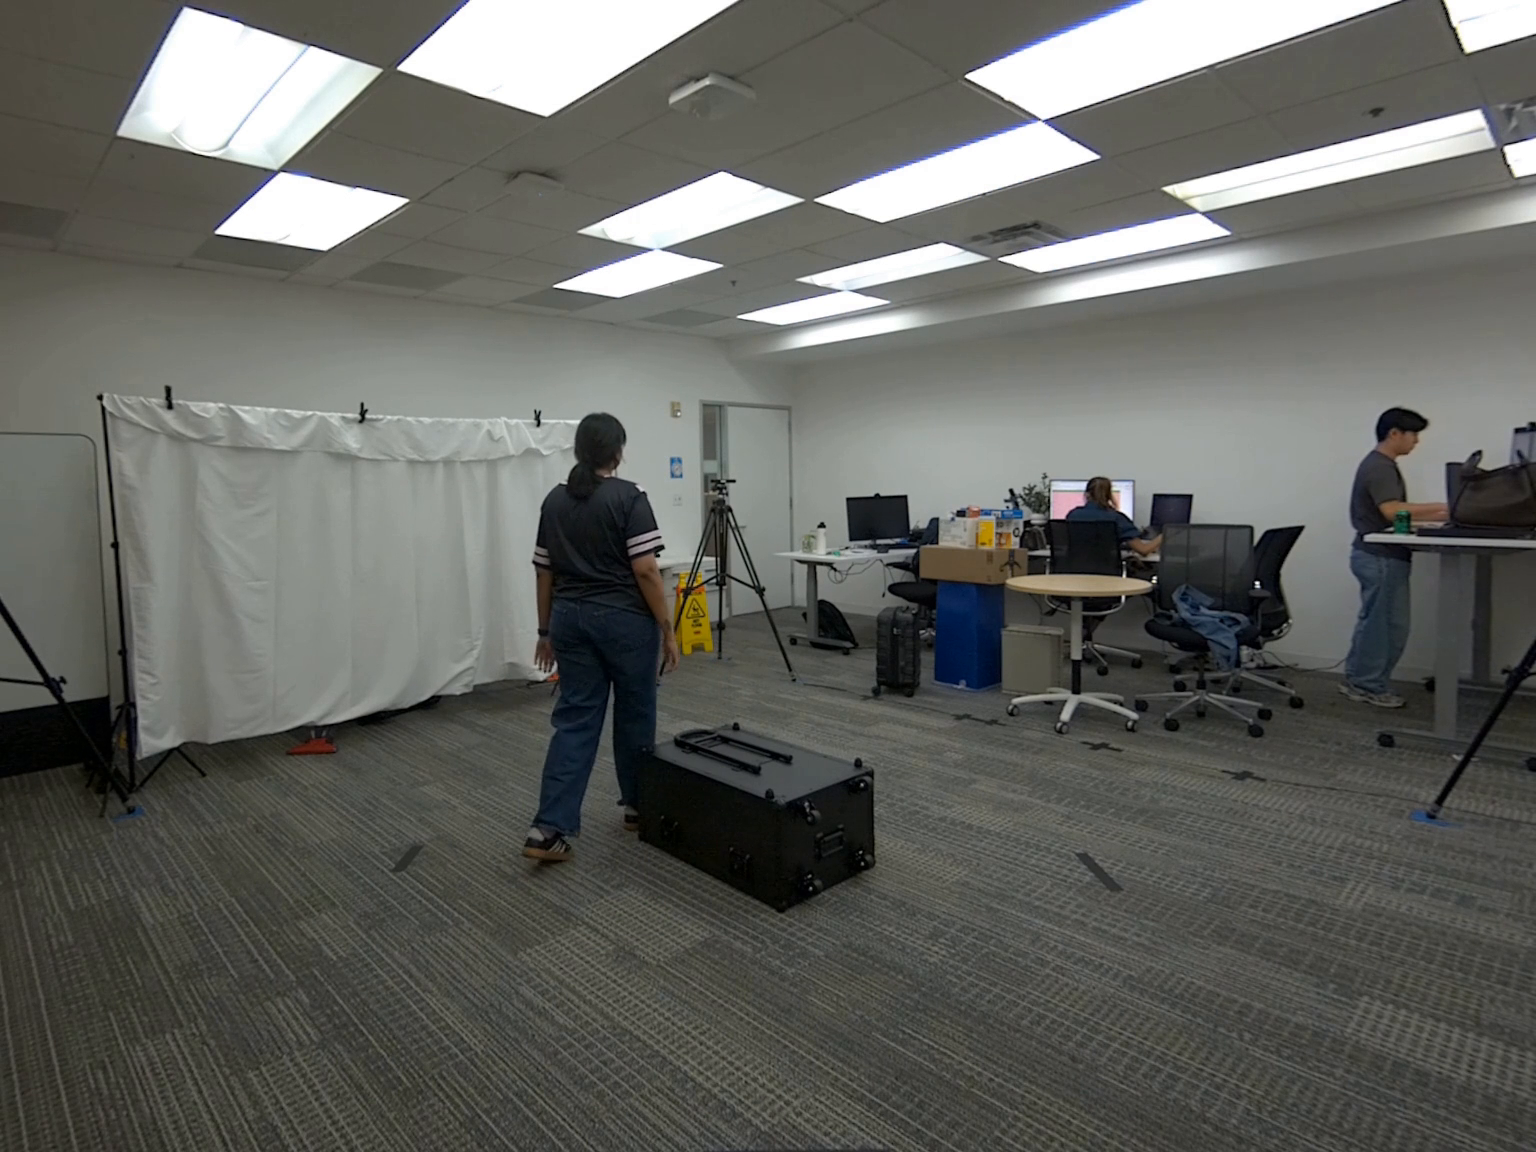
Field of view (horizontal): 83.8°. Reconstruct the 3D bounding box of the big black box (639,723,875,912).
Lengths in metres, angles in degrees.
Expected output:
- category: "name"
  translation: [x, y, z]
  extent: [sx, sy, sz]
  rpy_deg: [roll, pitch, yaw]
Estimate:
- category: "big black box"
  translation: [-0.028, 0.857, 3.169]
  extent: [0.509, 0.384, 0.895]
  rpy_deg: [-4, 7, -43]
